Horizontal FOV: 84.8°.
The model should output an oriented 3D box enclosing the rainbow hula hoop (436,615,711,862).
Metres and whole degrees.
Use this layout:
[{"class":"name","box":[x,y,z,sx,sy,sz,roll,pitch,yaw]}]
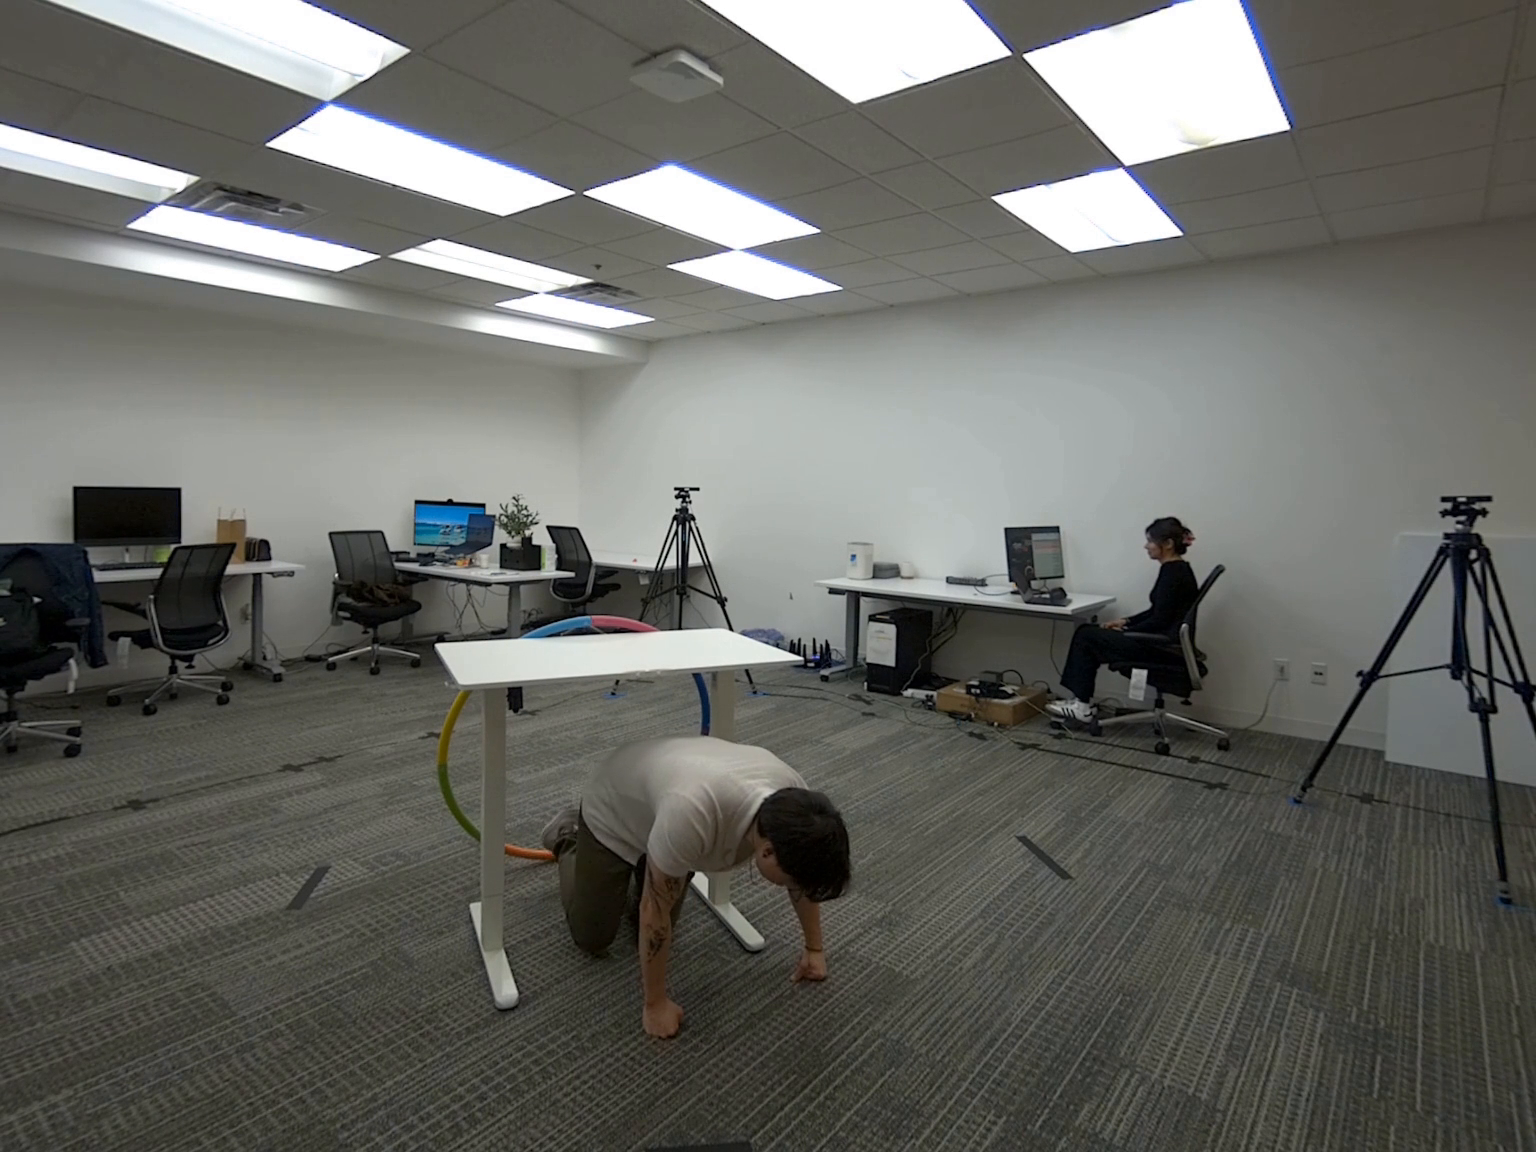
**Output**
[{"class":"rainbow hula hoop","box":[-0.680,0.596,3.038,0.956,0.965,0.037,-1,20,-25]}]
